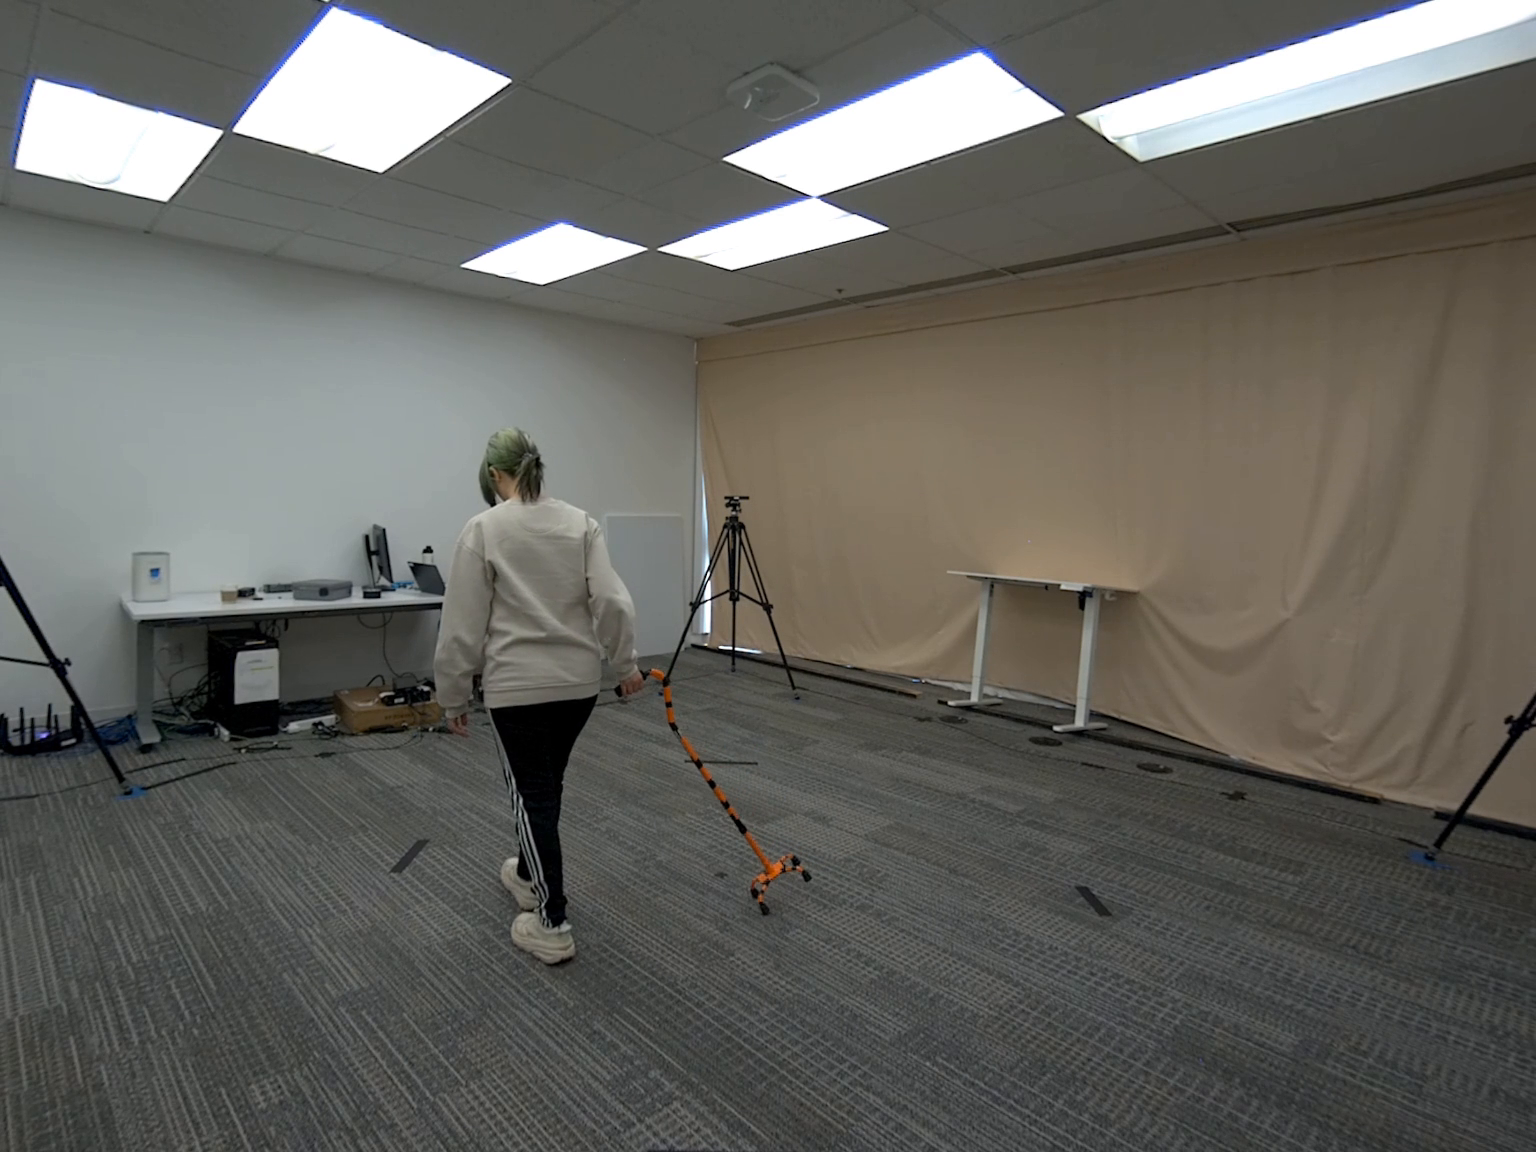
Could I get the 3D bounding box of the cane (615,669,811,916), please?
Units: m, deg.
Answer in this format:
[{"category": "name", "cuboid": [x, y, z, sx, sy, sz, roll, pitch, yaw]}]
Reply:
[{"category": "cane", "cuboid": [-0.186, 0.697, 2.817, 0.206, 0.899, 0.153, -33, 10, -10]}]
